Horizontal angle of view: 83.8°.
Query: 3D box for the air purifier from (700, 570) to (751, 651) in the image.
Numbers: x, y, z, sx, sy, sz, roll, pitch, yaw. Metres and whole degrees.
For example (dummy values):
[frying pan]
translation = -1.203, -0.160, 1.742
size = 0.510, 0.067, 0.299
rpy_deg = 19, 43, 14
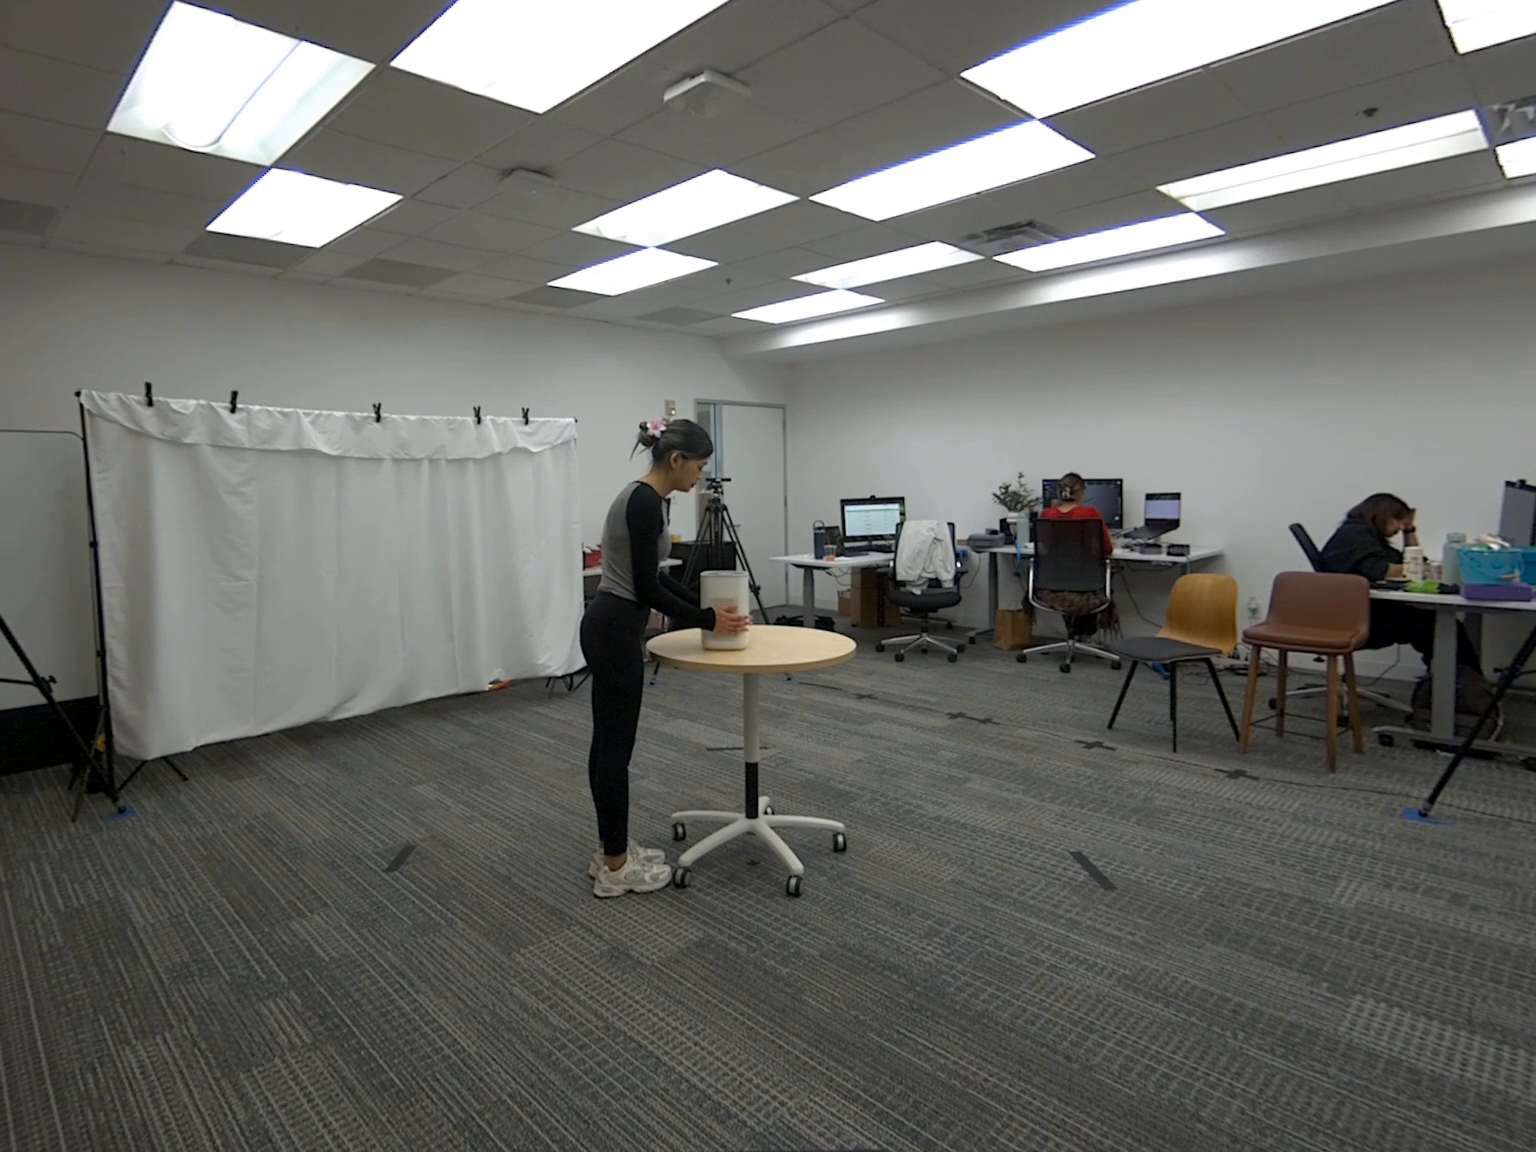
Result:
[air purifier]
translation = -0.155, 0.123, 3.050
size = 0.172, 0.264, 0.172
rpy_deg = -1, 5, 1
